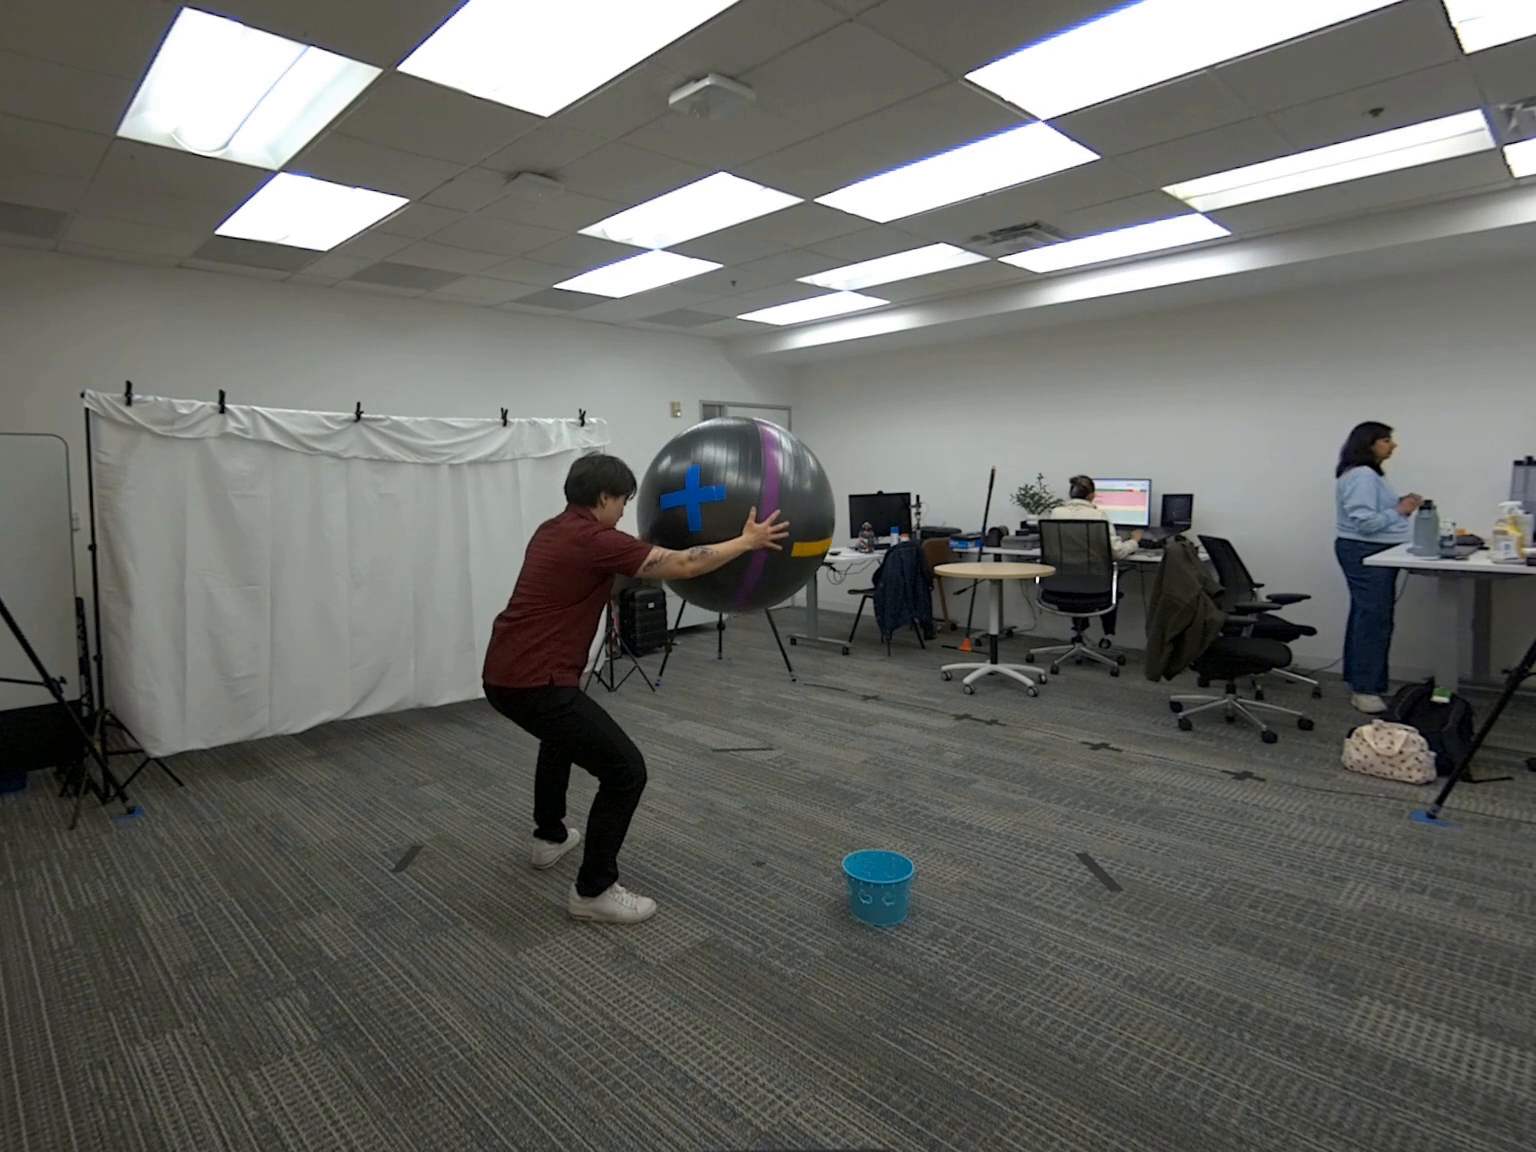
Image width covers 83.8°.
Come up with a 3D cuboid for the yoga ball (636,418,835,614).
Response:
[{"bbox_3d":[-0.125,-0.229,3.290,0.757,0.755,0.762,-1,5,-2],"label":"yoga ball"}]
